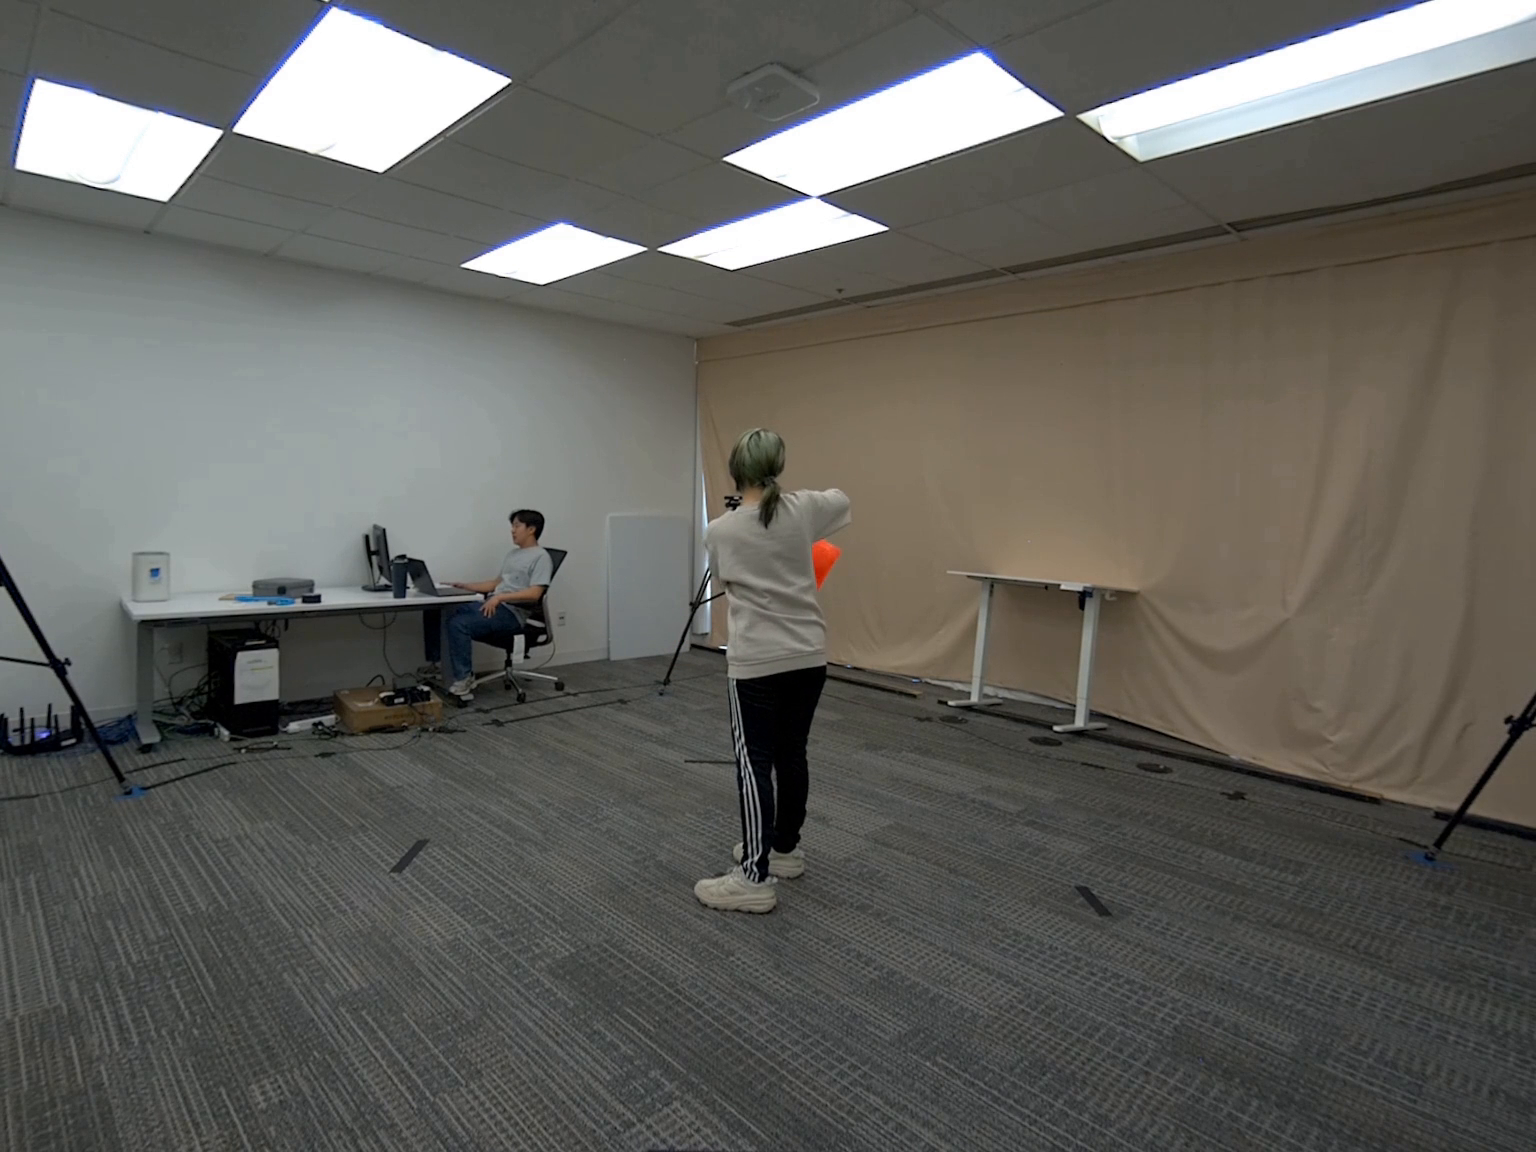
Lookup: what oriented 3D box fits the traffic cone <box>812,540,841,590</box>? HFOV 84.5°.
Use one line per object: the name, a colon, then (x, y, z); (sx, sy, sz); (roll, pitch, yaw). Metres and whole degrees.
traffic cone: (0.062, -0.117, 3.433); (0.373, 0.205, 0.209); (29, 5, -29)
